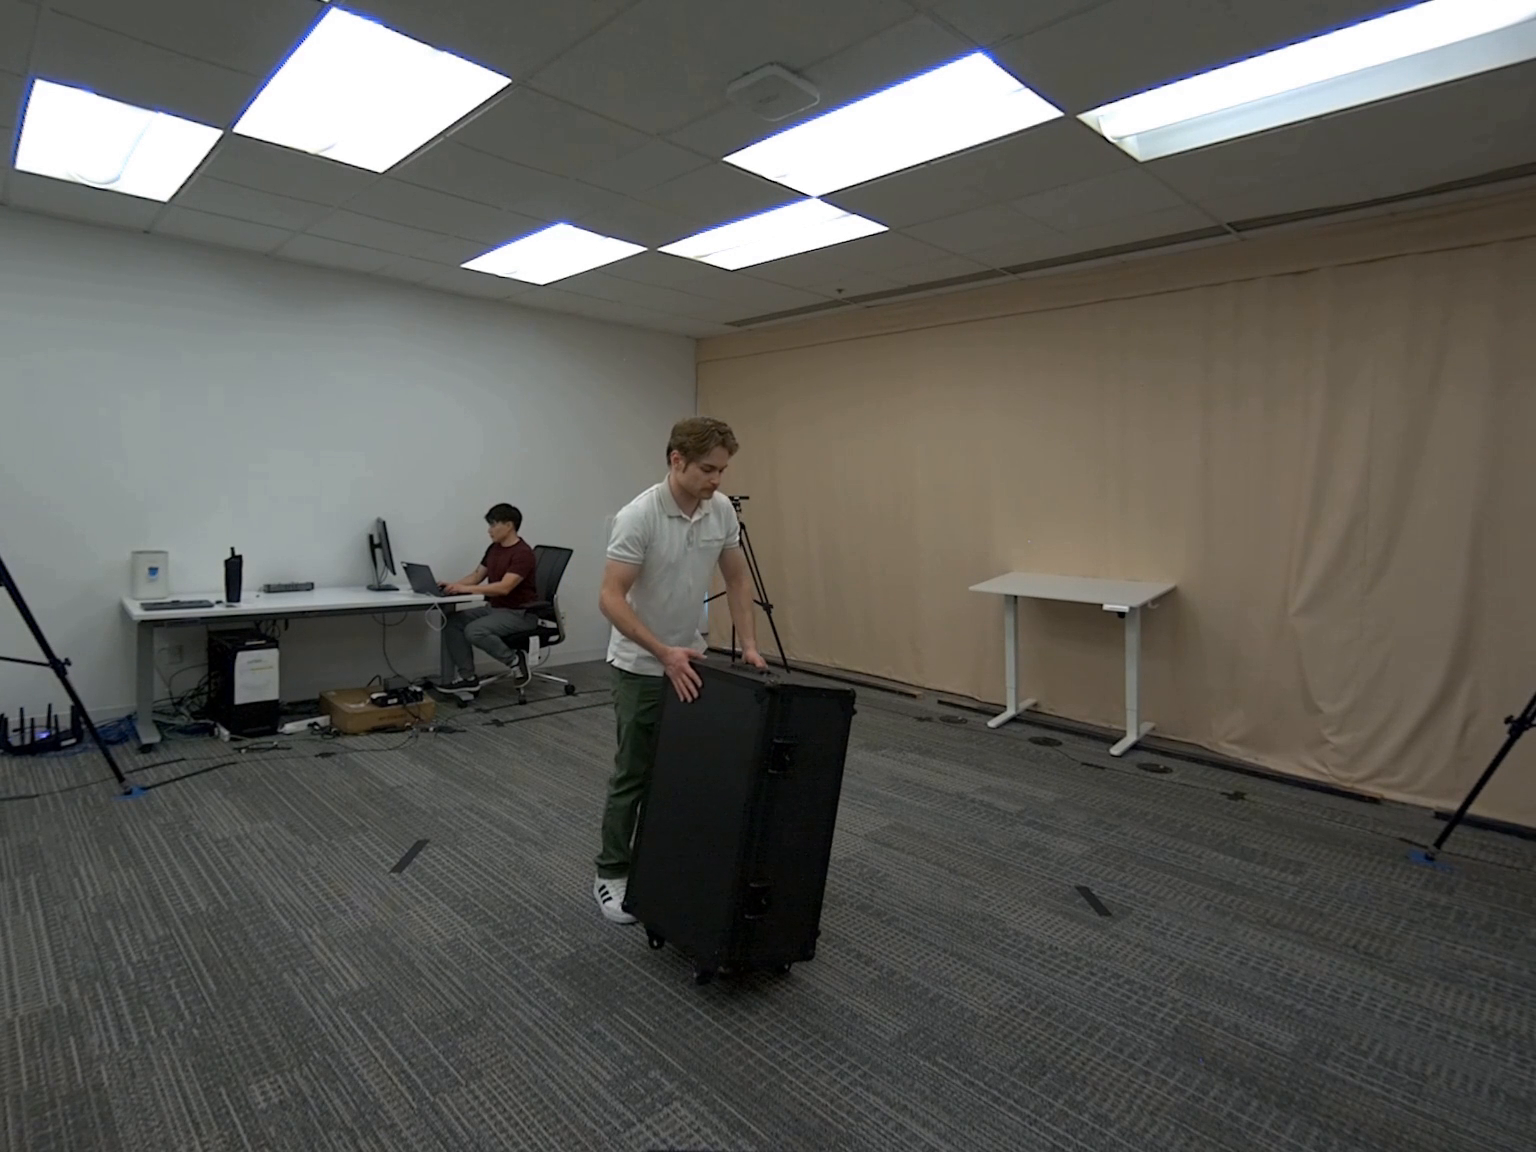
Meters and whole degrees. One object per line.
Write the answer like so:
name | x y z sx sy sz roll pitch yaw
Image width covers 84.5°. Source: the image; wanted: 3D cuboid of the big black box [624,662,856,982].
big black box | -0.103 0.716 2.515 0.374 0.870 0.537 13 -5 -43
